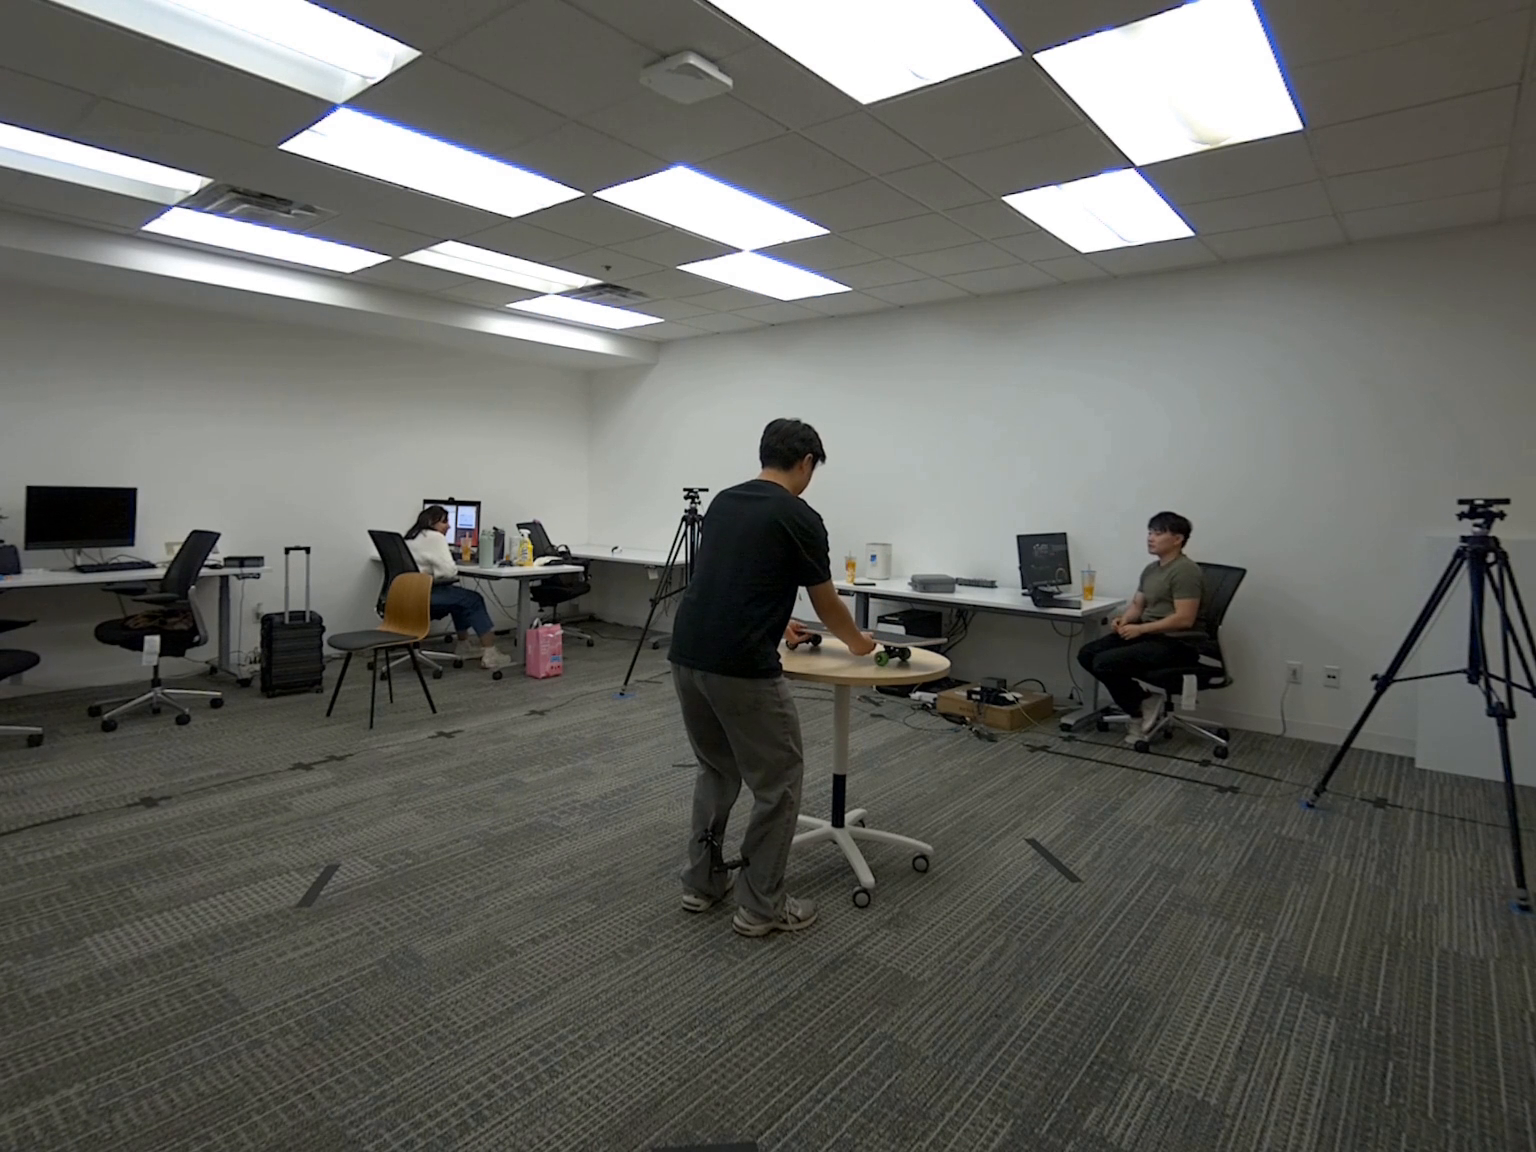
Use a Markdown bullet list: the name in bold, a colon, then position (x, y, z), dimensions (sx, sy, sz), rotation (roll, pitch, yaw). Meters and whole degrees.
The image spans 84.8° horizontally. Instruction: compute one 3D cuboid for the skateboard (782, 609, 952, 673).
- **skateboard**: position (0.301, 0.230, 3.186), dimensions (0.187, 0.110, 0.812), rotation (-2, 6, -40)
